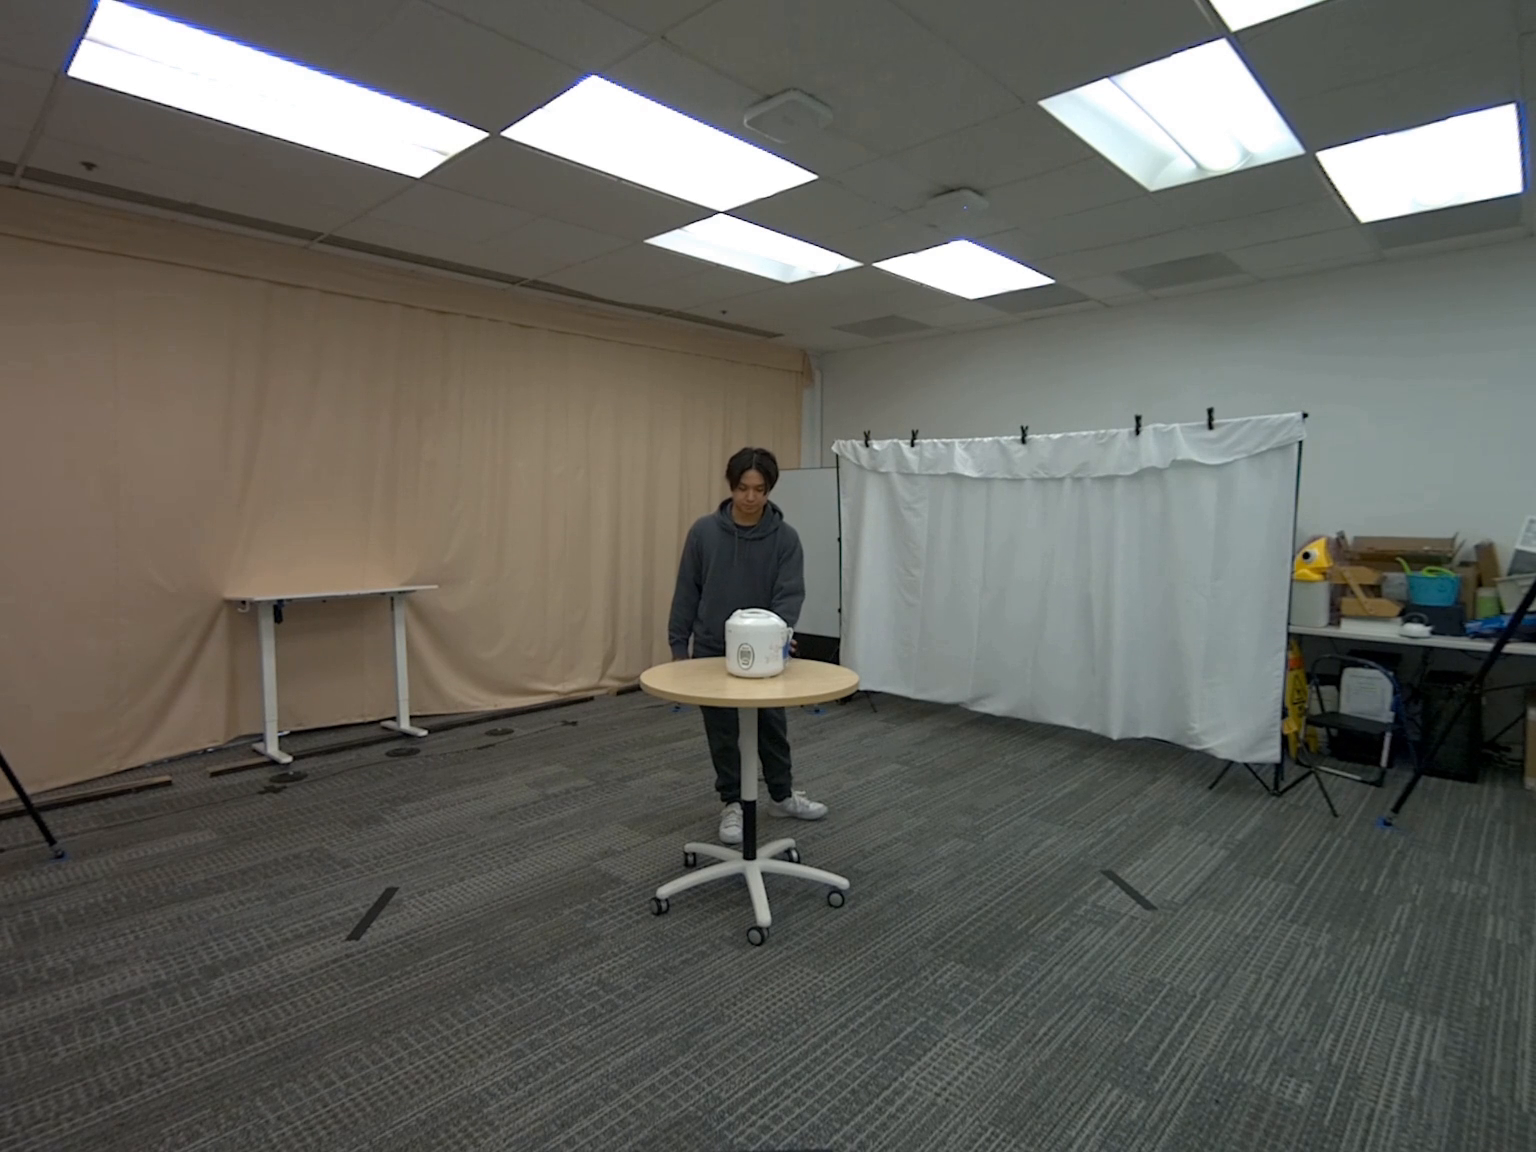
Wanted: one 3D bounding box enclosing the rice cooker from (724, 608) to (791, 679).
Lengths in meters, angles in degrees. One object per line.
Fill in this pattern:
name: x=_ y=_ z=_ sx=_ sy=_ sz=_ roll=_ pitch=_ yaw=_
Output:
rice cooker: x=-0.043 y=0.231 z=2.977 sx=0.225 sy=0.232 sz=0.213 roll=1 pitch=2 yaw=19
